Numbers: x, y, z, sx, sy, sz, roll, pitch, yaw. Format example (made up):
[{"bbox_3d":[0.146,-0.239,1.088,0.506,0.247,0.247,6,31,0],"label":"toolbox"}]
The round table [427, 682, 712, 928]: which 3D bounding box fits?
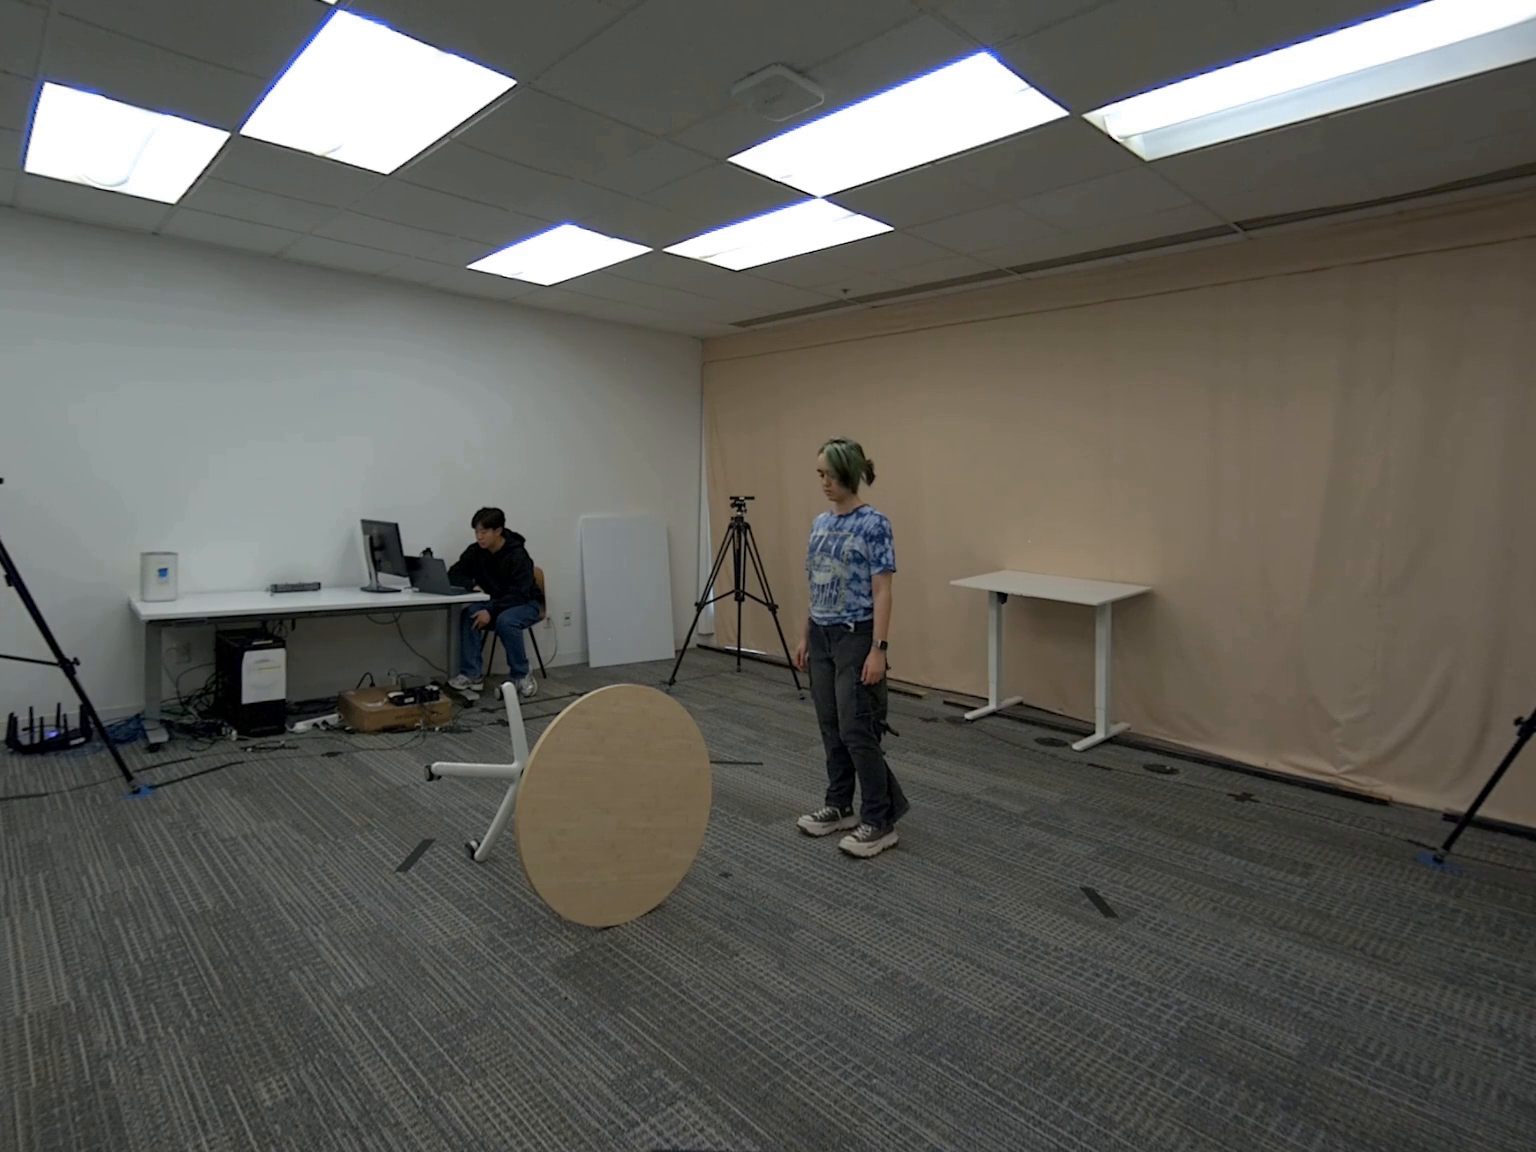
[{"bbox_3d":[-0.755,0.754,3.056,0.746,0.764,0.811,-3,0,-43],"label":"round table"}]
